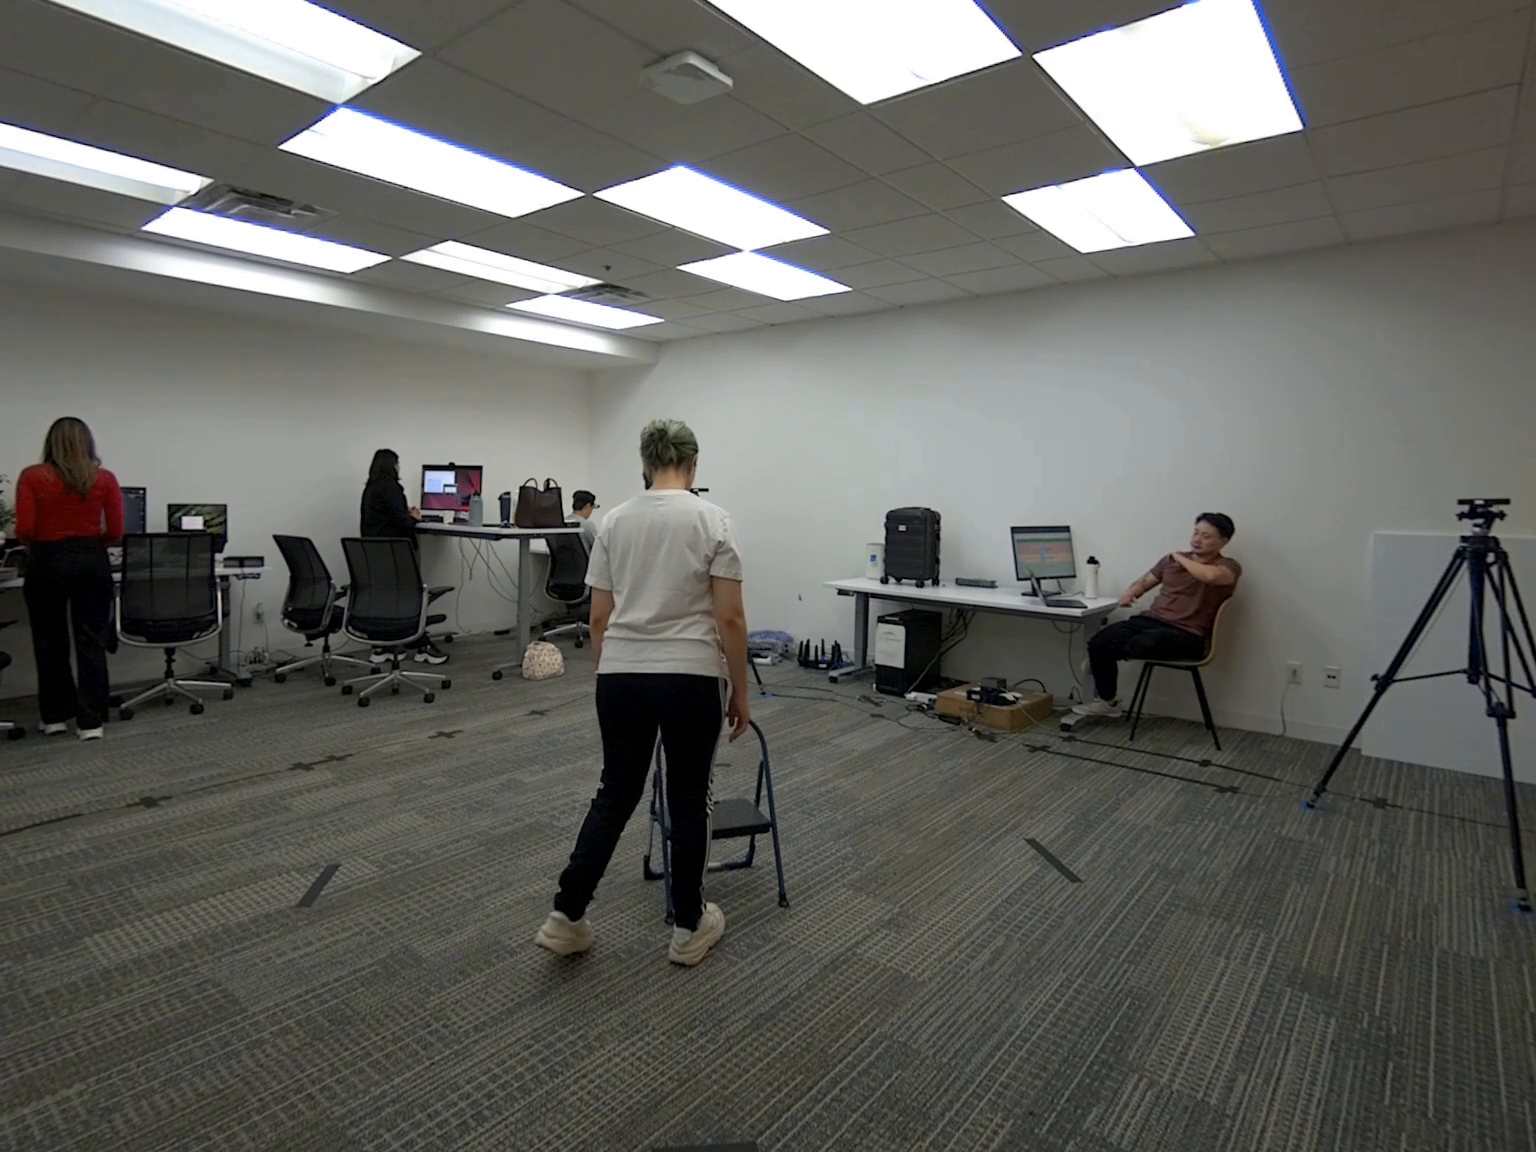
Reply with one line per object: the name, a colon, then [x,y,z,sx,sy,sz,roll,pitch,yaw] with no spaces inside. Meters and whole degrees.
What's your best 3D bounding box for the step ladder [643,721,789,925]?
step ladder: [-0.191,0.786,2.923,0.421,0.605,0.358,0,3,-22]
